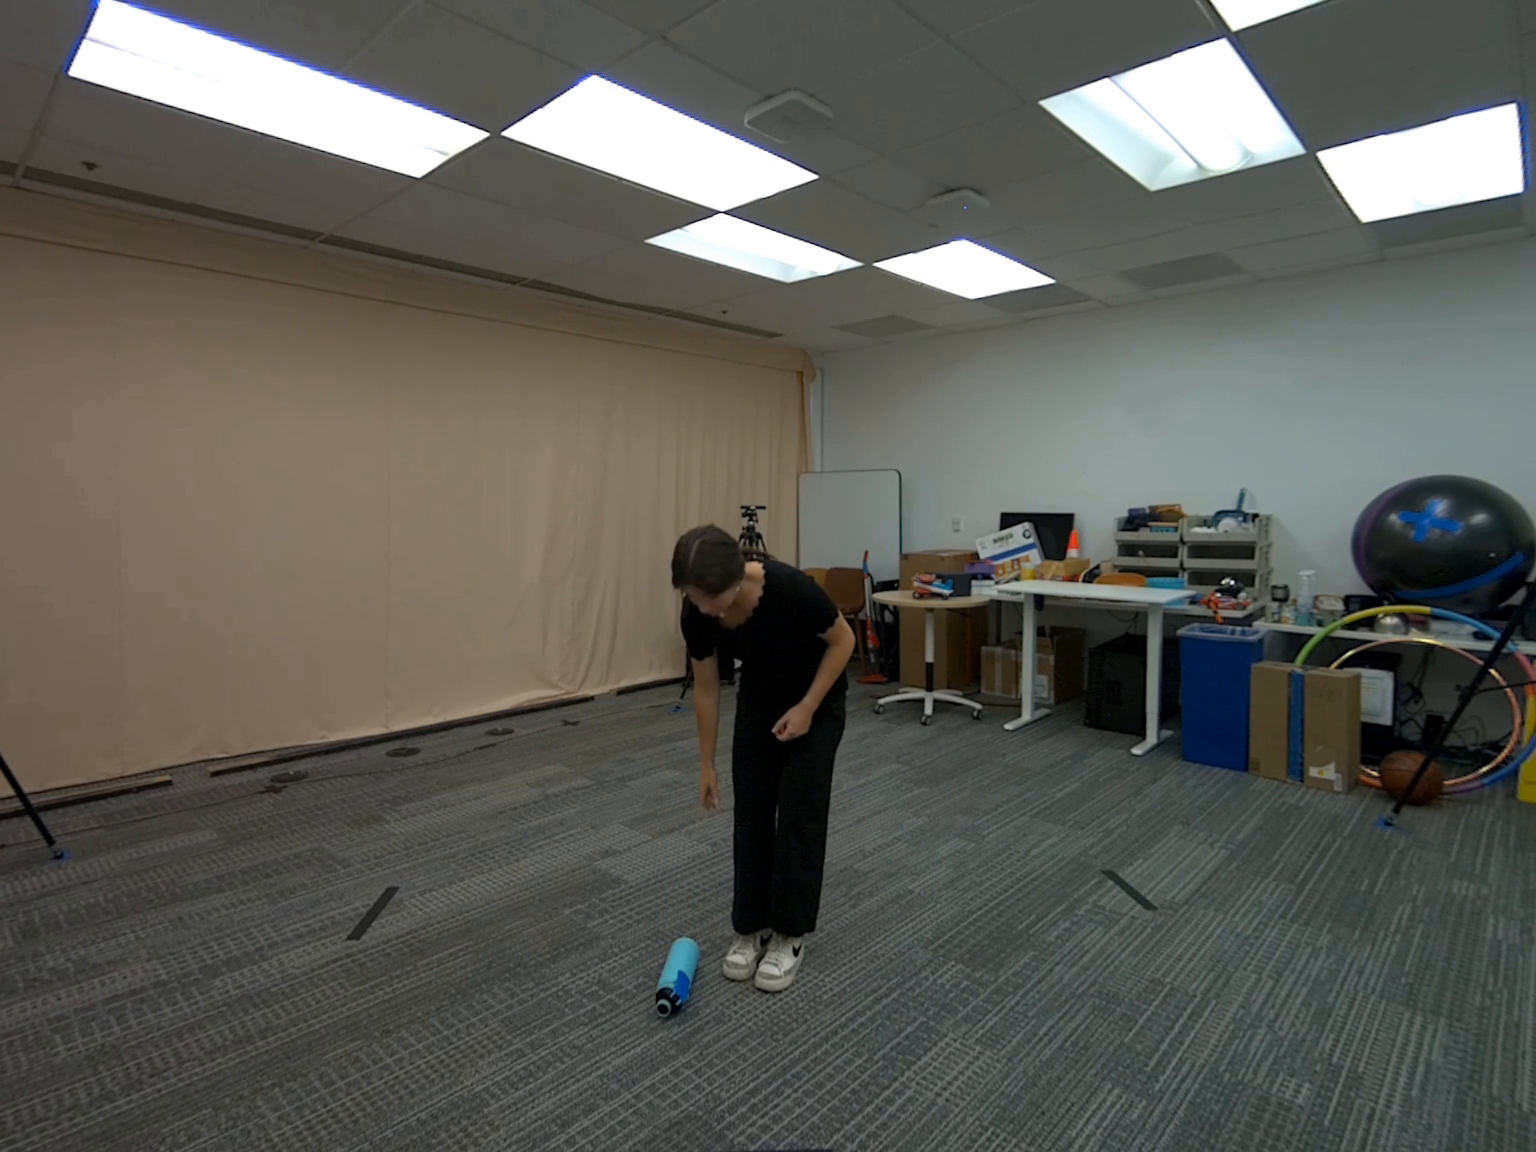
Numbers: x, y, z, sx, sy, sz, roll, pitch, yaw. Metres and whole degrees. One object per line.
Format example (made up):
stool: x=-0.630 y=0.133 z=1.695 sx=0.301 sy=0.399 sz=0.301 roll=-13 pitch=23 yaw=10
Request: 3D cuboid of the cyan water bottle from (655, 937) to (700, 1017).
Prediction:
cyan water bottle: x=-0.260 y=1.149 z=2.403 sx=0.093 sy=0.092 sz=0.282 roll=0 pitch=4 yaw=5
